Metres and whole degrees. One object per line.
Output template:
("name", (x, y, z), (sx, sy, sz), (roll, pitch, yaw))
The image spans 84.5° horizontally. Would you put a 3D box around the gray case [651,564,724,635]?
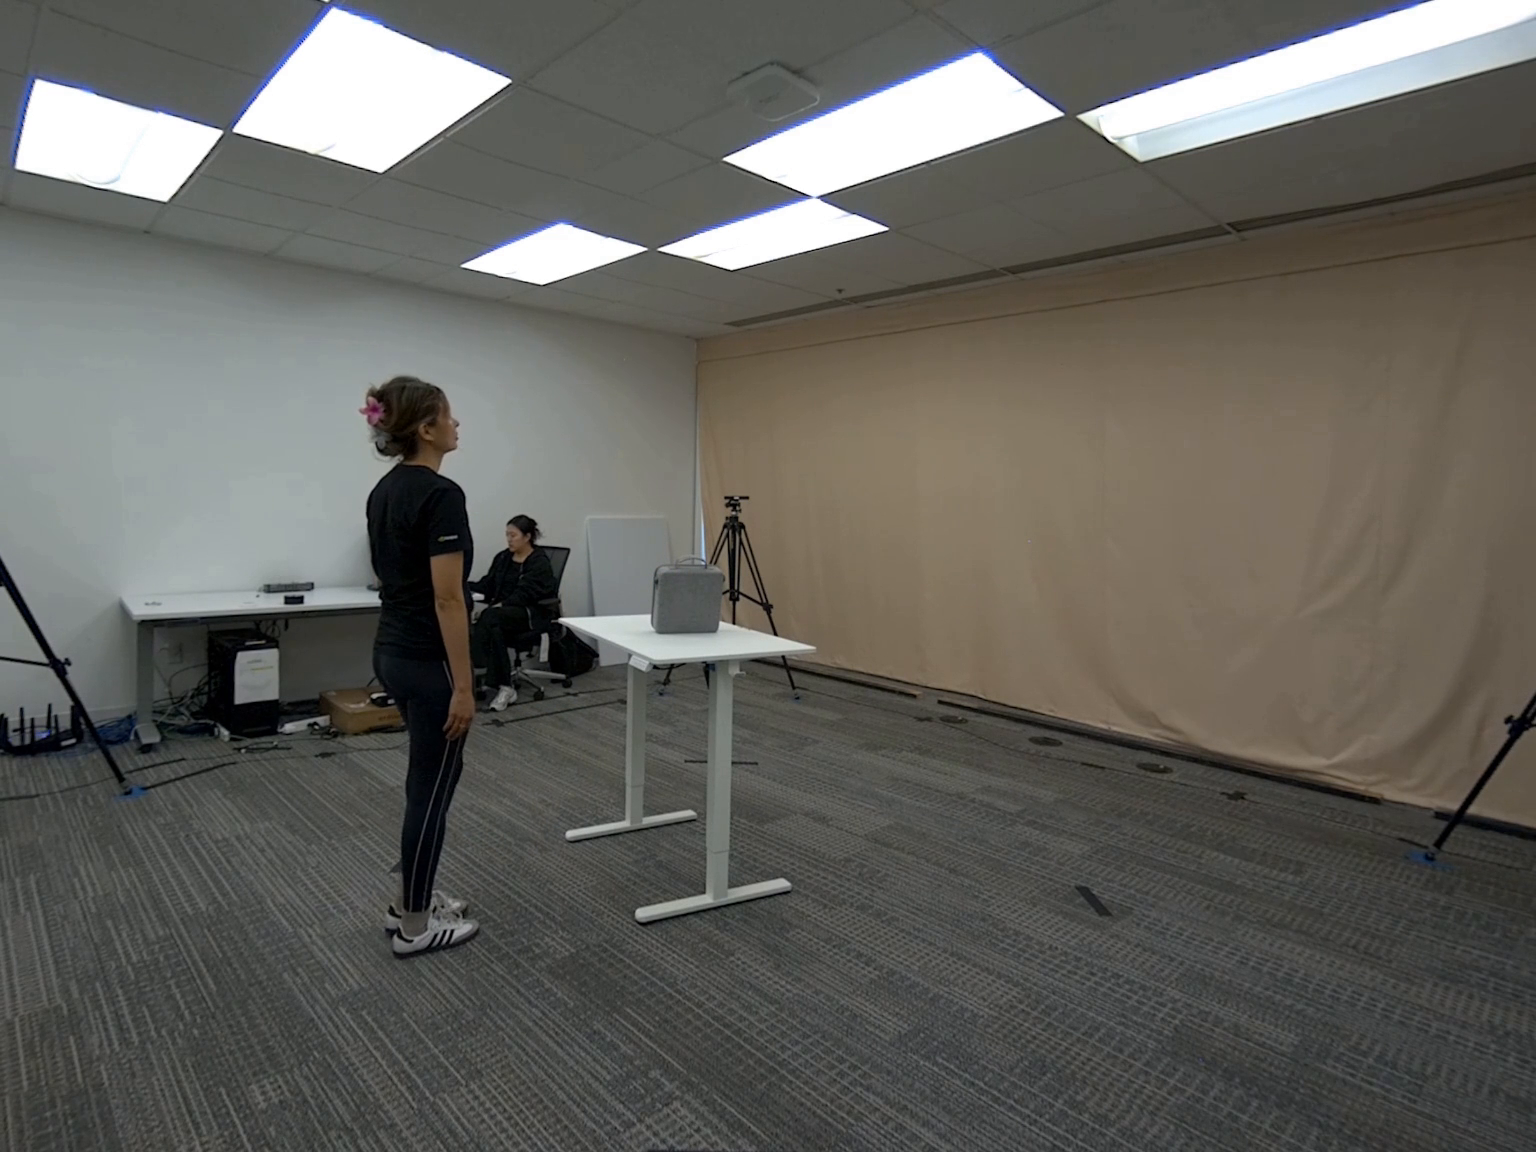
("gray case", (-0.307, 0.083, 3.142), (0.253, 0.258, 0.106), (0, 13, -17))
